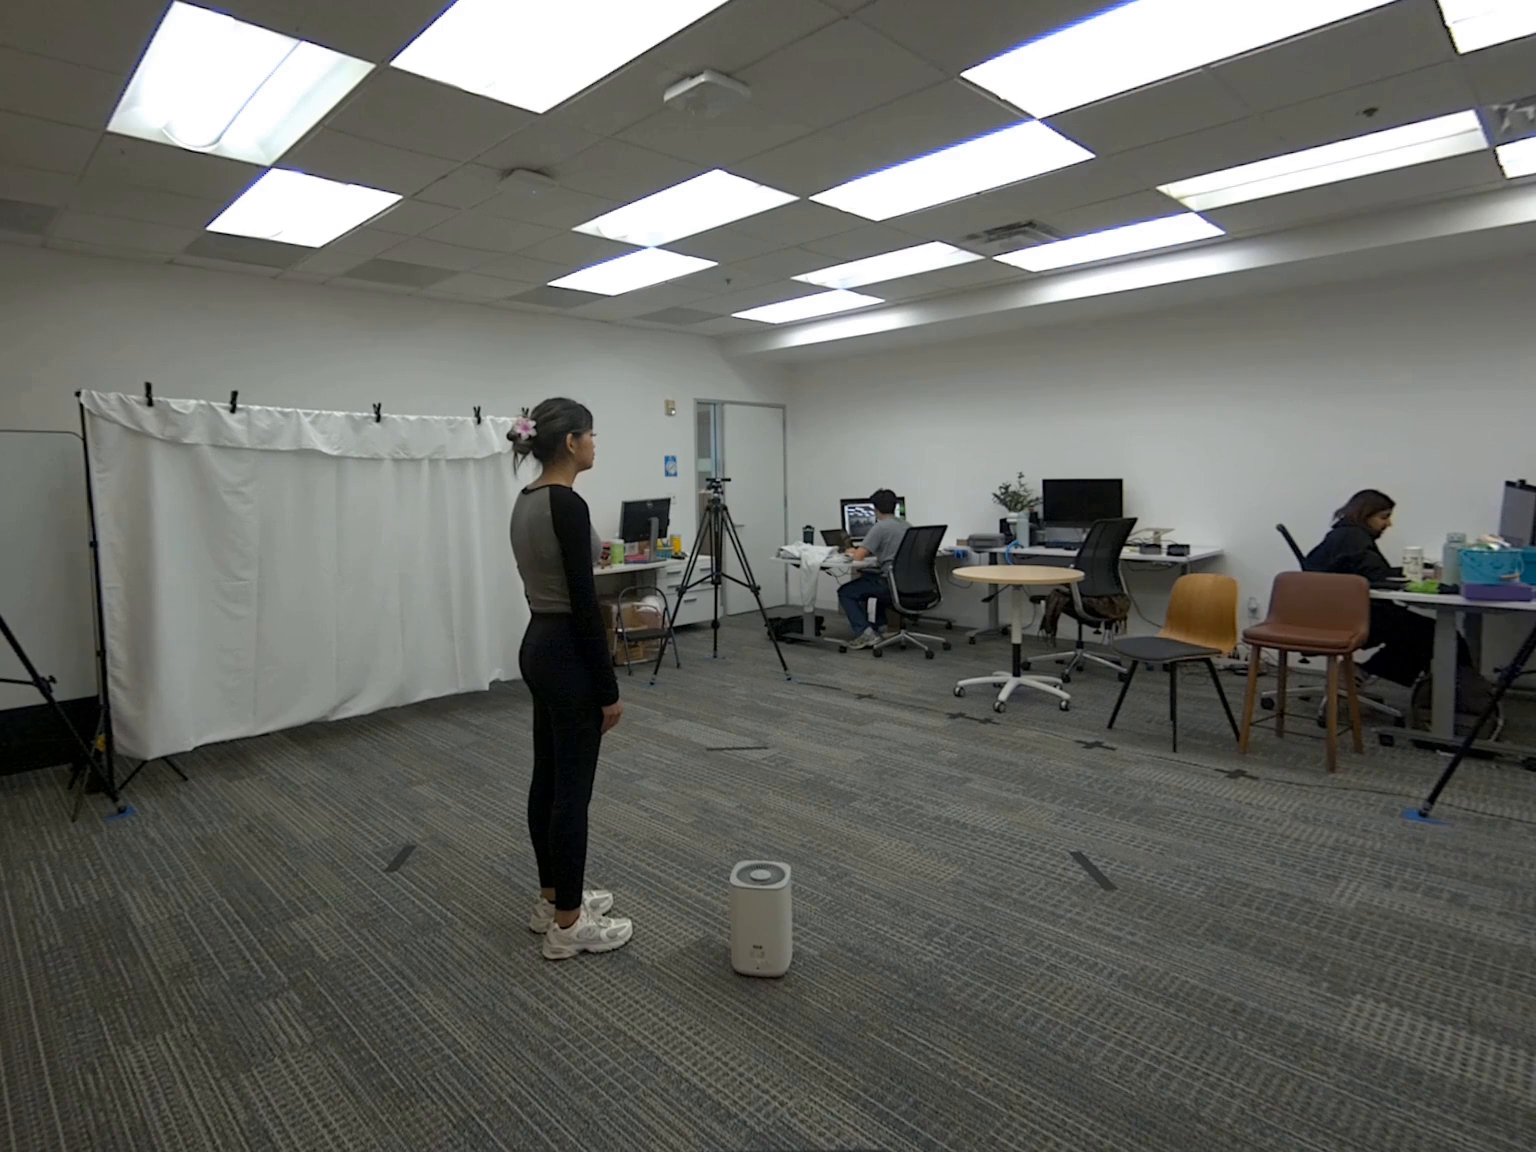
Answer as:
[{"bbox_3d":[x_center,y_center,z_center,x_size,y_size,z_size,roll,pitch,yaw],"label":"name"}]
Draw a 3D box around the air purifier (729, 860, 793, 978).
[{"bbox_3d":[-0.016,0.977,2.456,0.173,0.264,0.170,-1,3,9],"label":"air purifier"}]
